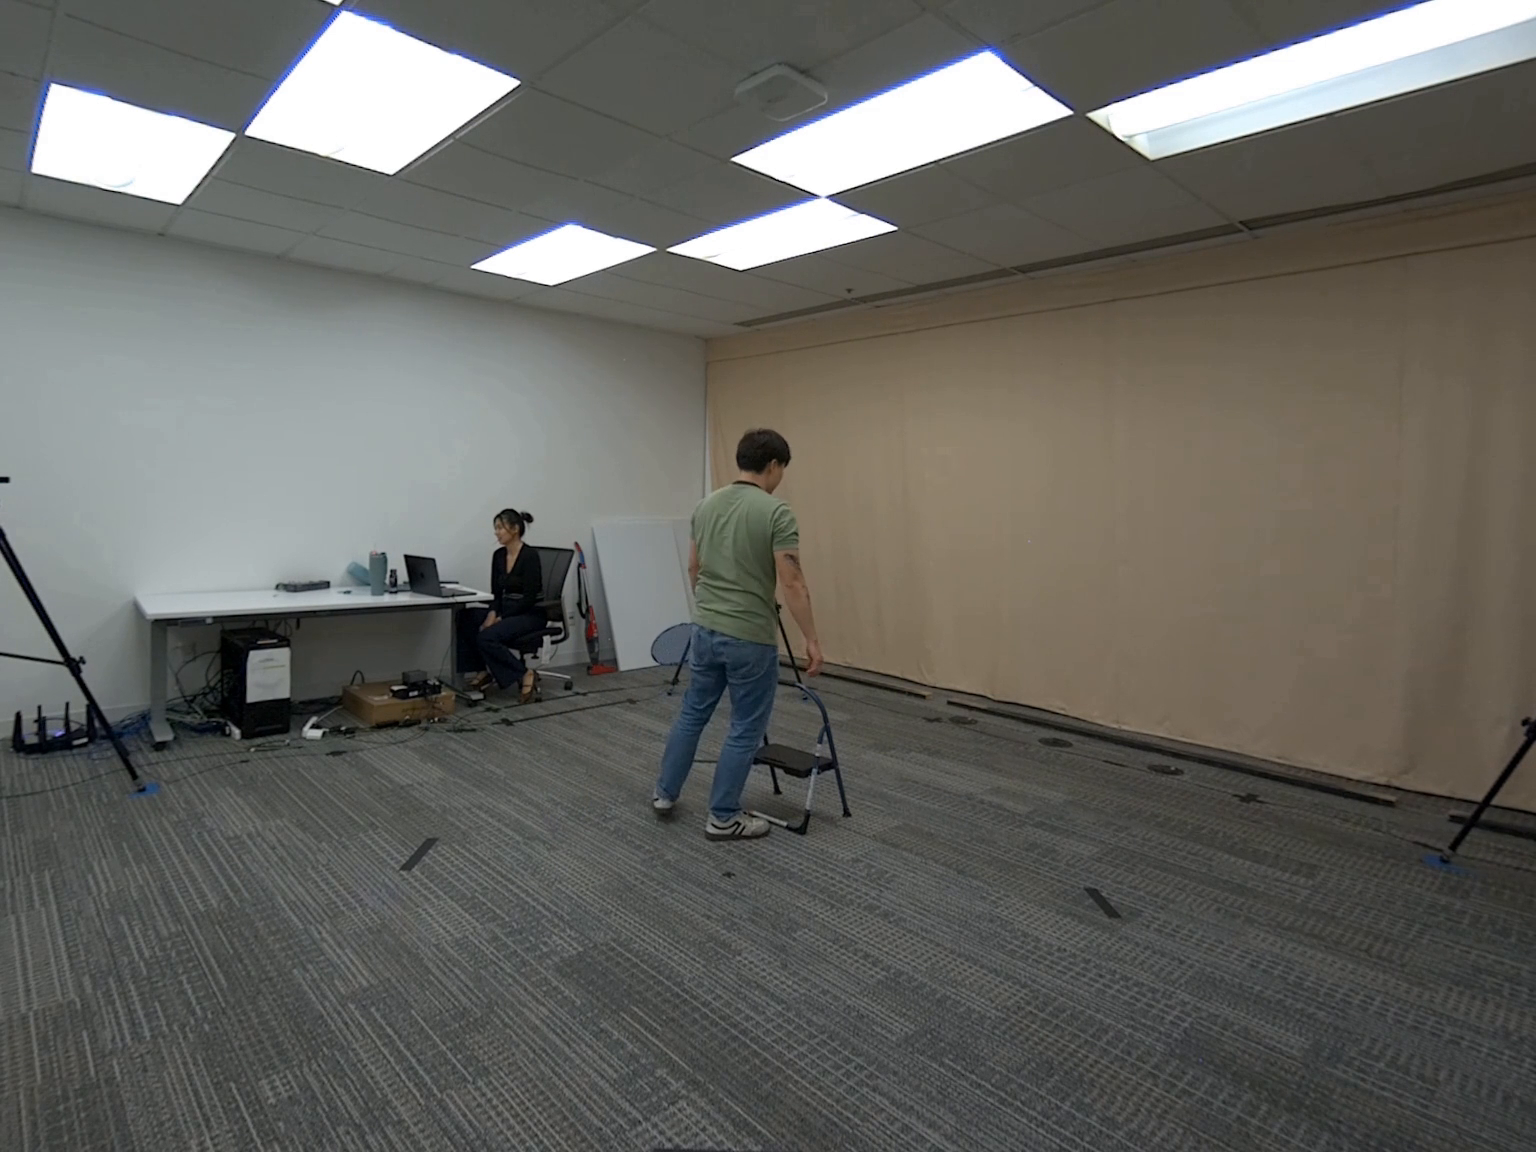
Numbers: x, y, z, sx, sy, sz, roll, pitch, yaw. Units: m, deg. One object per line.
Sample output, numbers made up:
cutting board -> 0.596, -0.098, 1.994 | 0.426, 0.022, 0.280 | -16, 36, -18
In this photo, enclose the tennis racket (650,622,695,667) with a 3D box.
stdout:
tennis racket -> -0.325, 0.280, 3.754 | 0.432, 0.208, 0.033 | -24, 34, -5
